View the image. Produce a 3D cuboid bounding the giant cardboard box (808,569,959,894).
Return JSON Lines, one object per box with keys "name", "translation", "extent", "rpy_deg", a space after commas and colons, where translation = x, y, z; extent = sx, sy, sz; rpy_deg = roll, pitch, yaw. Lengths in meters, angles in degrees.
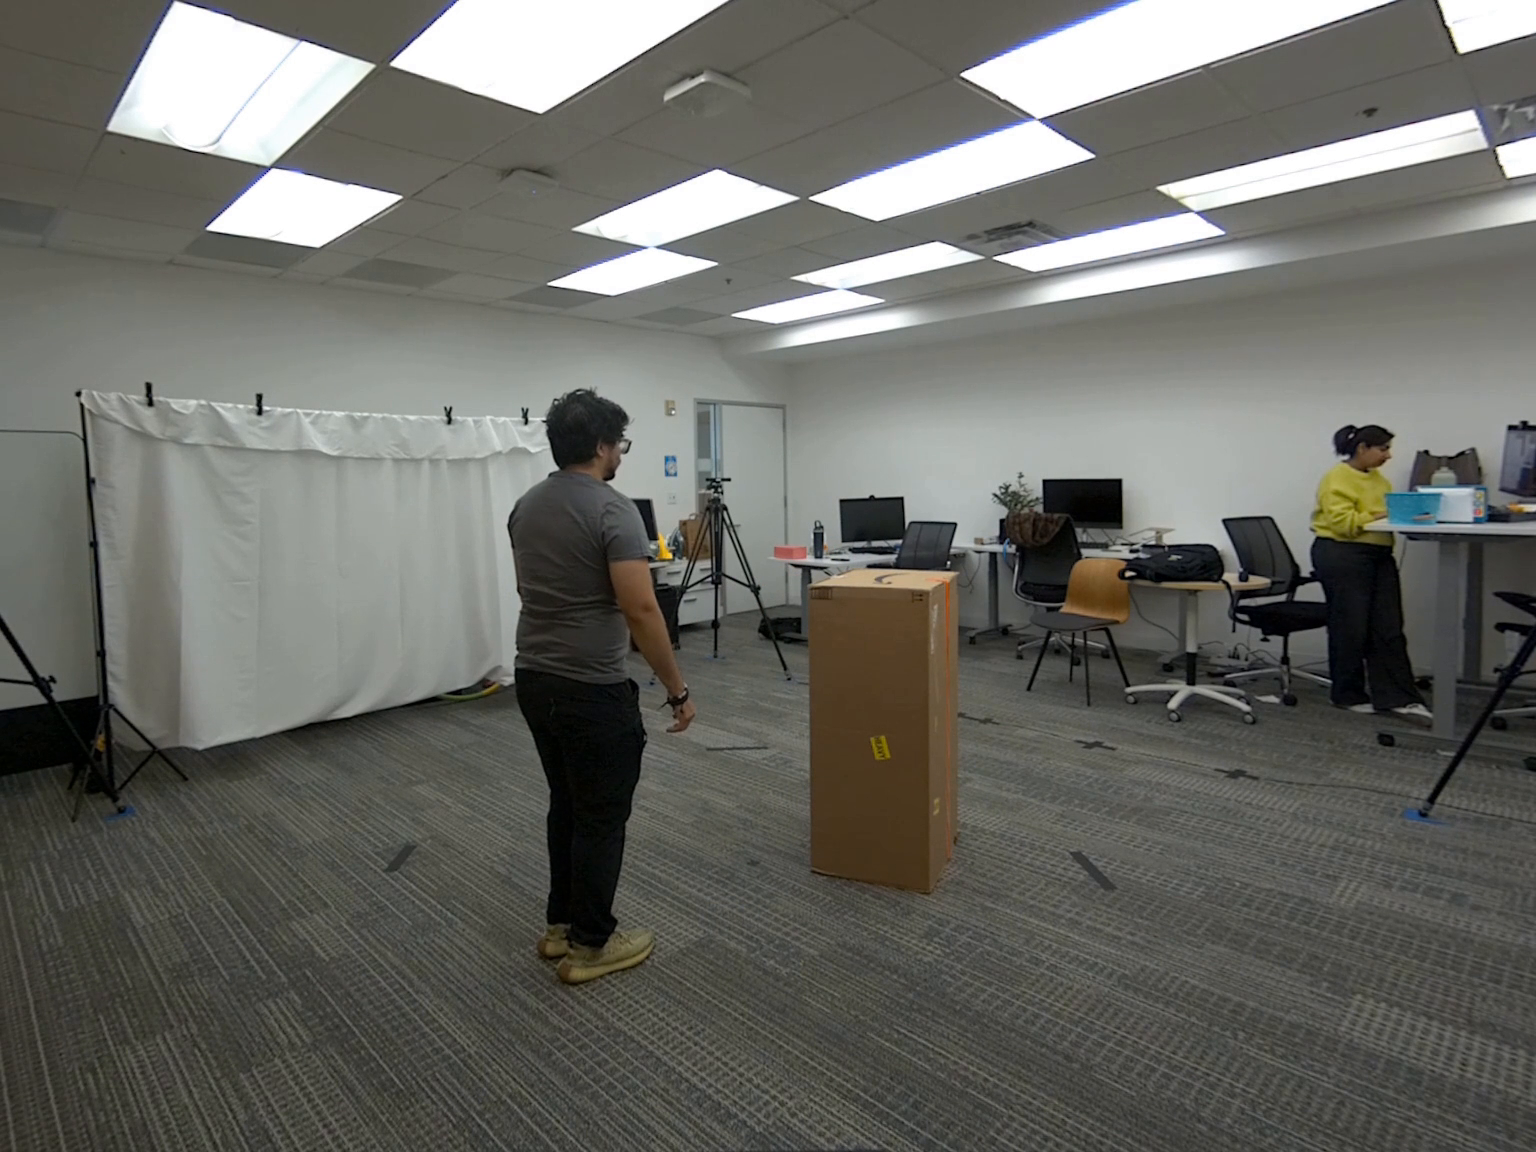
{"name": "giant cardboard box", "translation": [0.447, 0.518, 3.164], "extent": [0.436, 1.022, 0.566], "rpy_deg": [1, 4, 24]}
